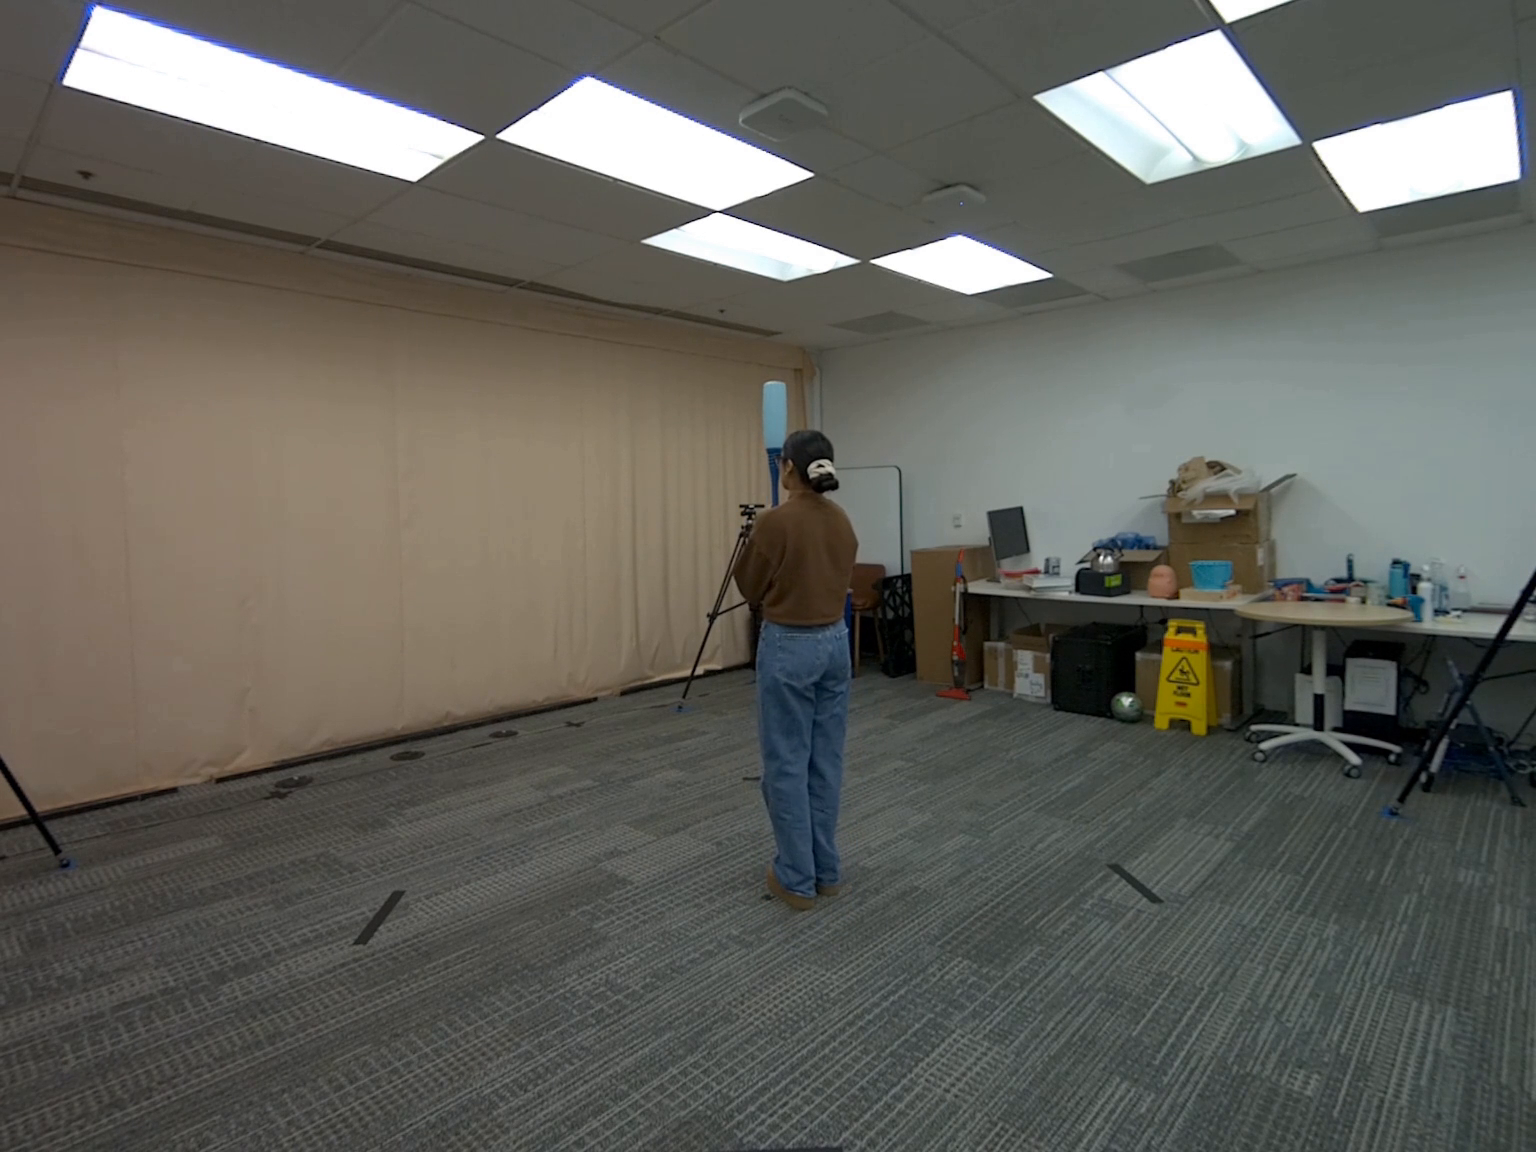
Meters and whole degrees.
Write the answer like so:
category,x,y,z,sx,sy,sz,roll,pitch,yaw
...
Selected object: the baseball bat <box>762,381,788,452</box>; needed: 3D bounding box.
category,x,y,z,sx,sy,sz,roll,pitch,yaw
baseball bat,0.029,-0.456,3.151,0.089,0.543,0.089,-1,-1,-2
